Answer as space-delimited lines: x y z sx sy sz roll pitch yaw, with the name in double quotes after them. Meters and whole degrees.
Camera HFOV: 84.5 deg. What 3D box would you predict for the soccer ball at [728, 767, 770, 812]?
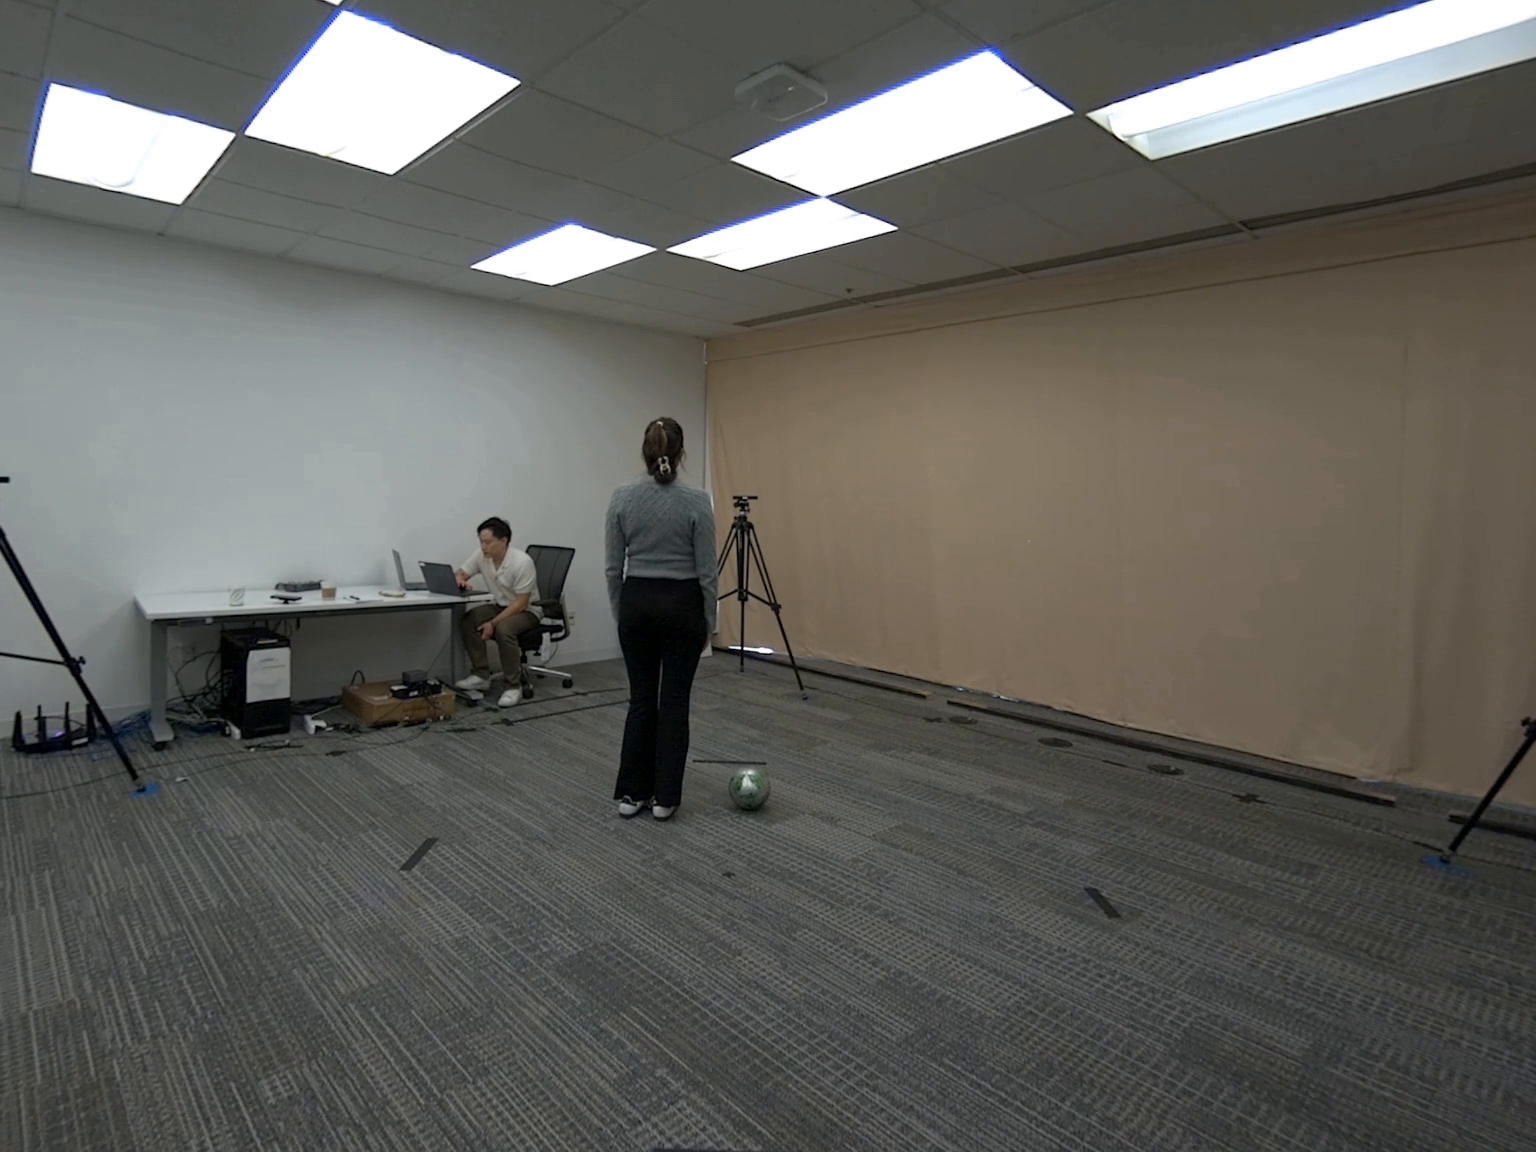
-0.102 0.955 3.778 0.187 0.187 0.188 1 4 -1 "soccer ball"
